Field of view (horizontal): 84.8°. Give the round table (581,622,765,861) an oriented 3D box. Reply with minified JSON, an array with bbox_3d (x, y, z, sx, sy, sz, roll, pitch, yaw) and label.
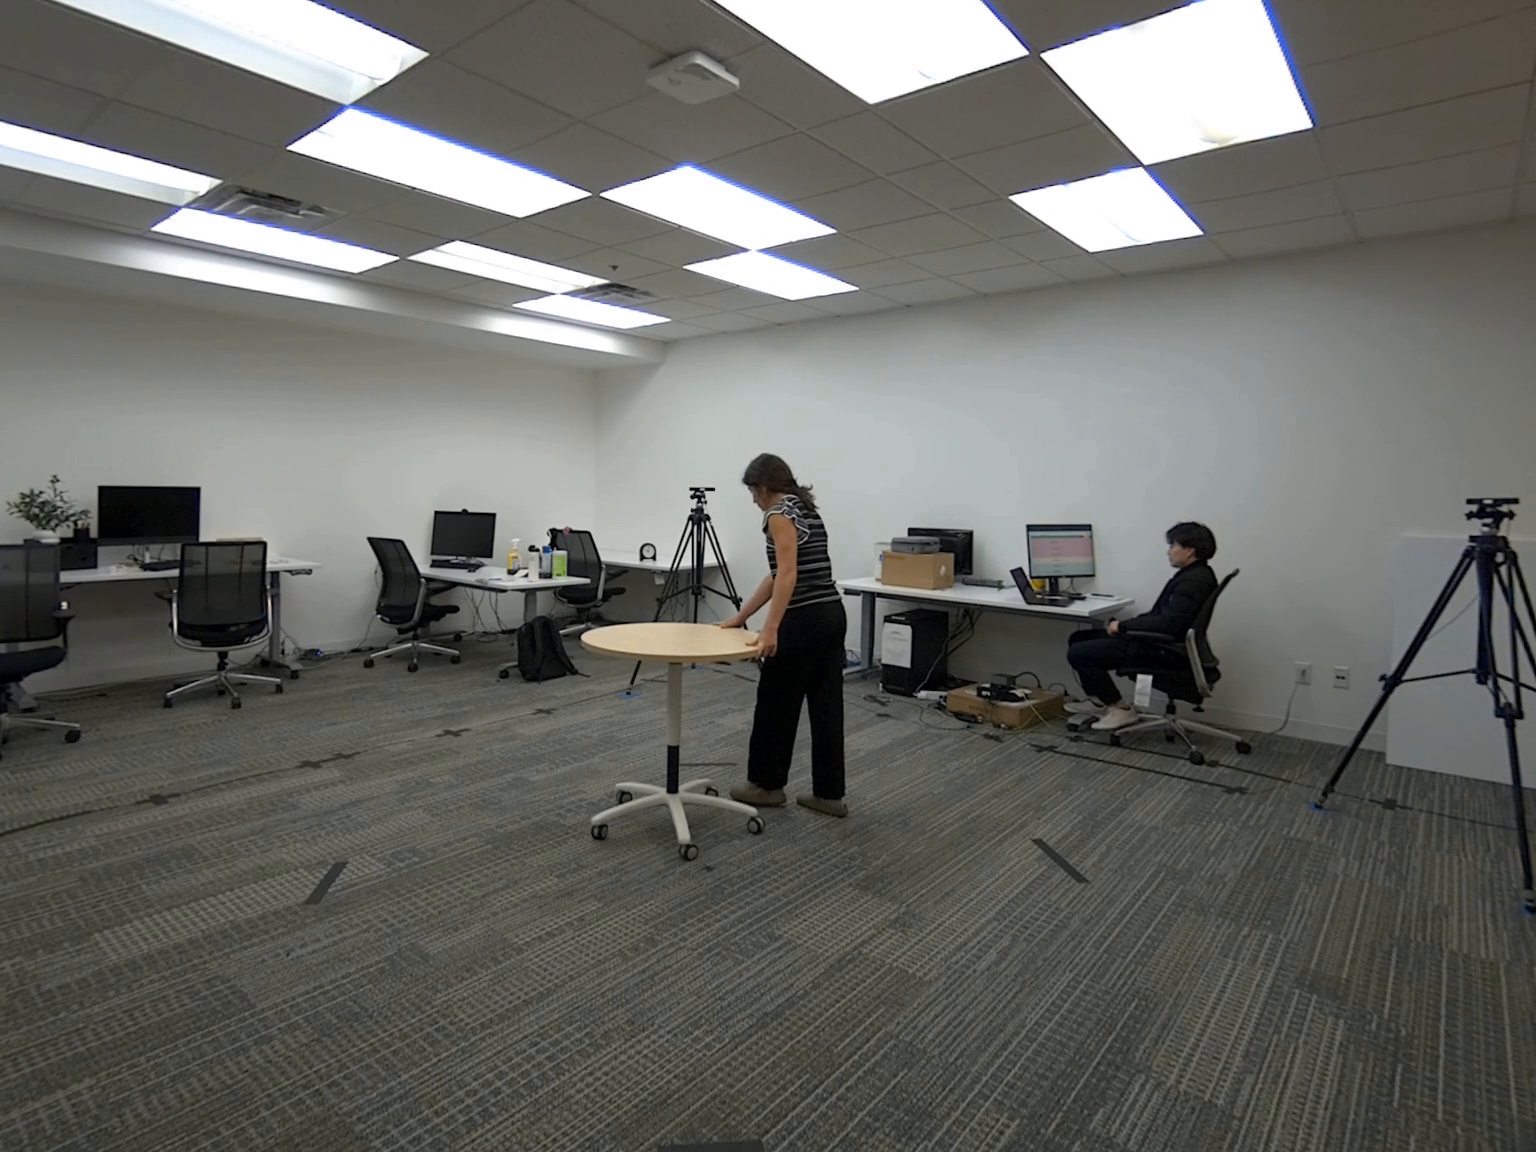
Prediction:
[{"bbox_3d":[-0.400,0.641,3.480,0.763,0.792,0.767,1,4,-2],"label":"round table"}]
